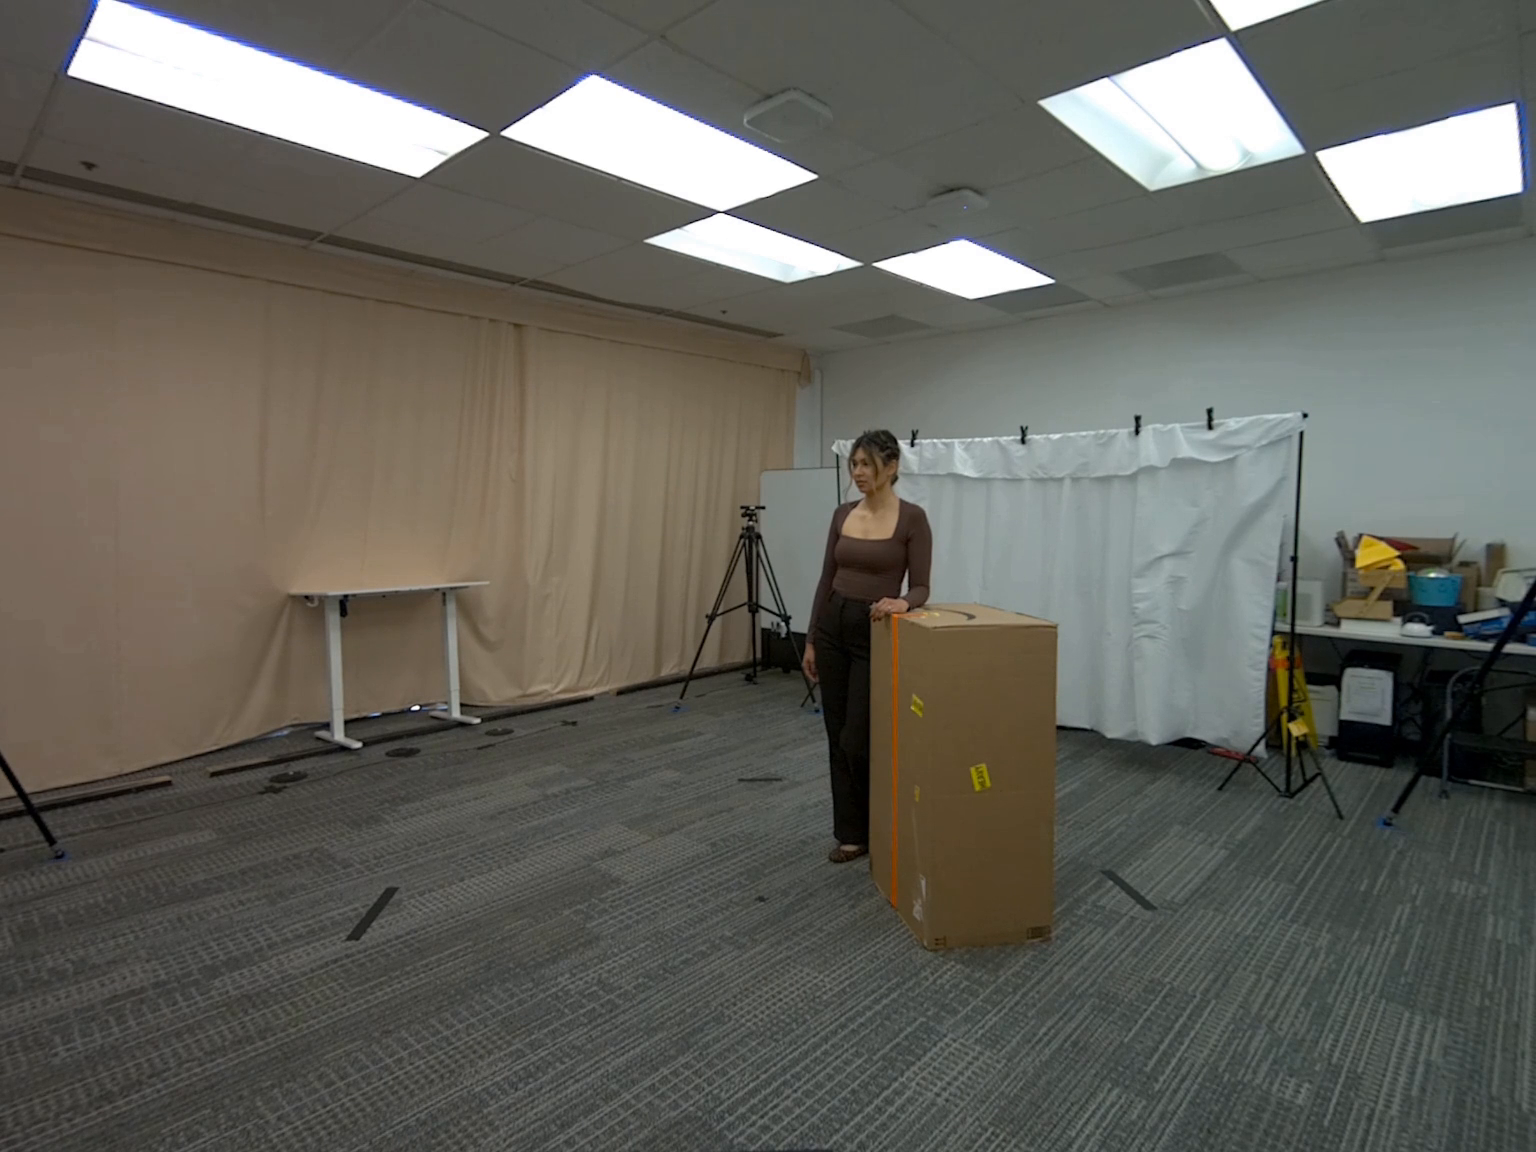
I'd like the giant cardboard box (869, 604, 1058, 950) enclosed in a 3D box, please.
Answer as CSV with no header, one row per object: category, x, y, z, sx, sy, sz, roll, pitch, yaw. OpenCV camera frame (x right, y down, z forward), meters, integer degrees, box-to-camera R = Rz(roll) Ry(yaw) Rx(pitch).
giant cardboard box,0.653,0.640,2.910,0.442,1.025,0.591,0,3,-11
